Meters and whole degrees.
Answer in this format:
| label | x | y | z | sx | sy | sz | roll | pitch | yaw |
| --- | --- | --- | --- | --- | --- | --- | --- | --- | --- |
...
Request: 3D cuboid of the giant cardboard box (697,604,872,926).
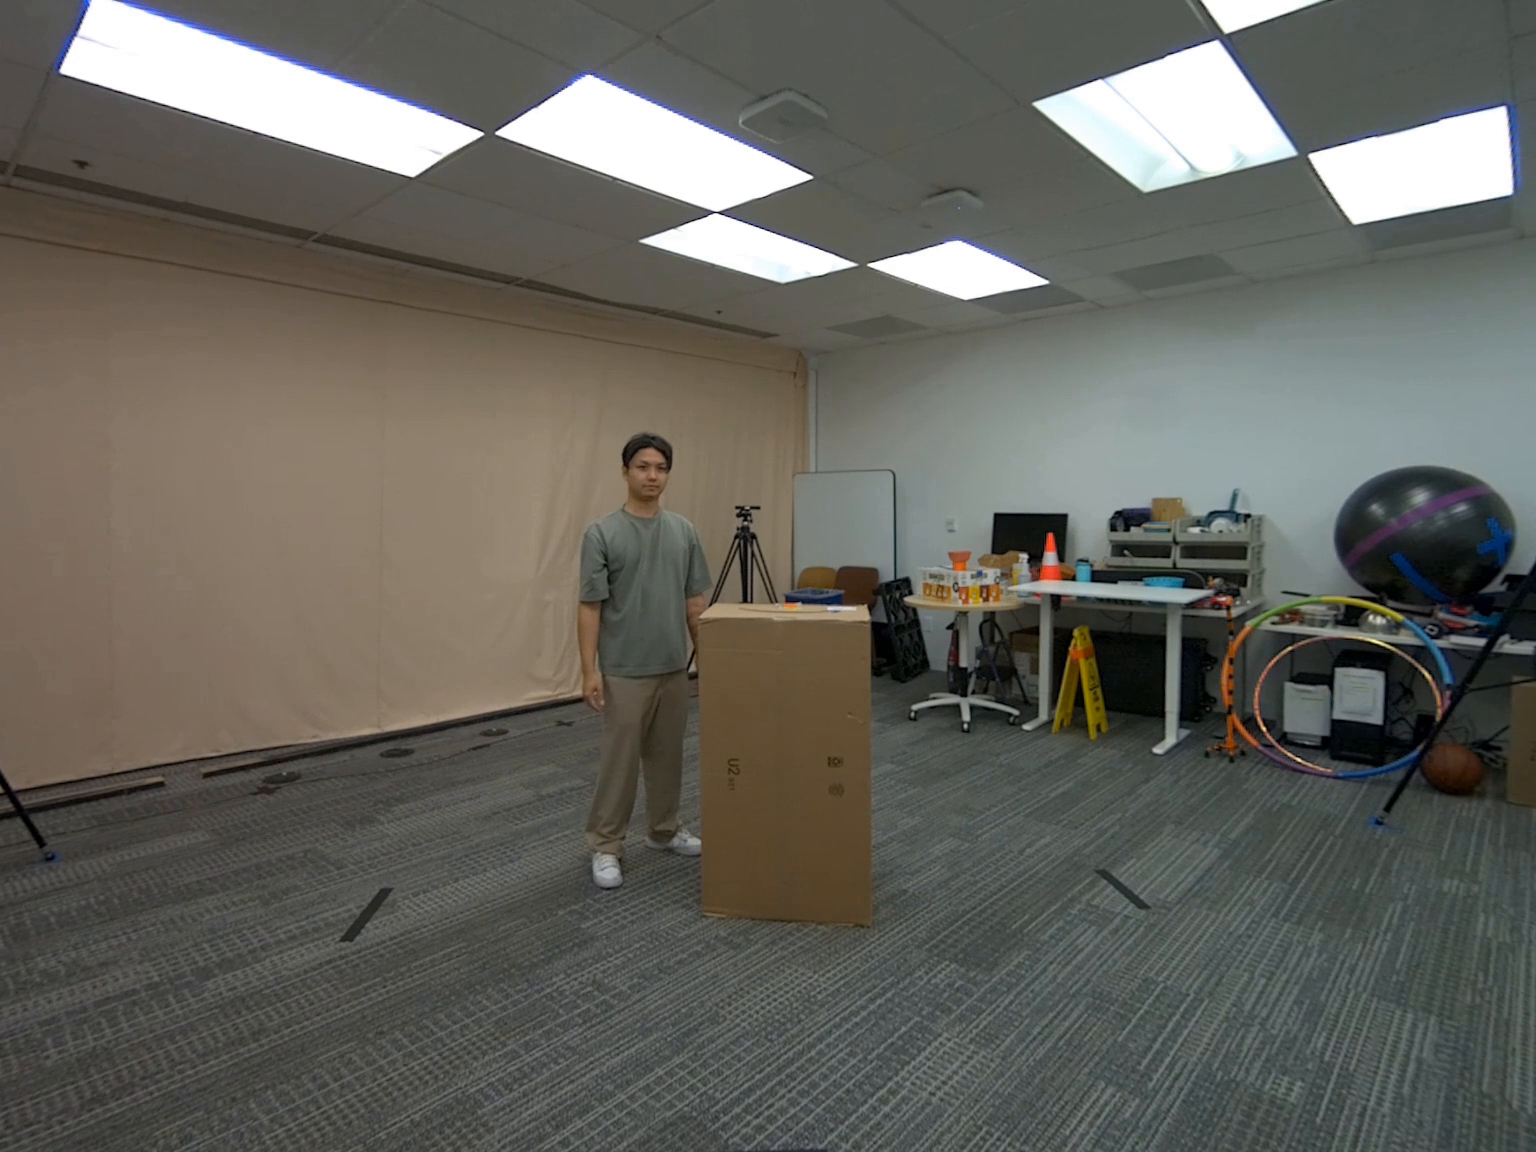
| label | x | y | z | sx | sy | sz | roll | pitch | yaw |
| --- | --- | --- | --- | --- | --- | --- | --- | --- | --- |
| giant cardboard box | 0.080 | 0.633 | 3.007 | 0.582 | 1.024 | 0.424 | 0 | 3 | 7 |
